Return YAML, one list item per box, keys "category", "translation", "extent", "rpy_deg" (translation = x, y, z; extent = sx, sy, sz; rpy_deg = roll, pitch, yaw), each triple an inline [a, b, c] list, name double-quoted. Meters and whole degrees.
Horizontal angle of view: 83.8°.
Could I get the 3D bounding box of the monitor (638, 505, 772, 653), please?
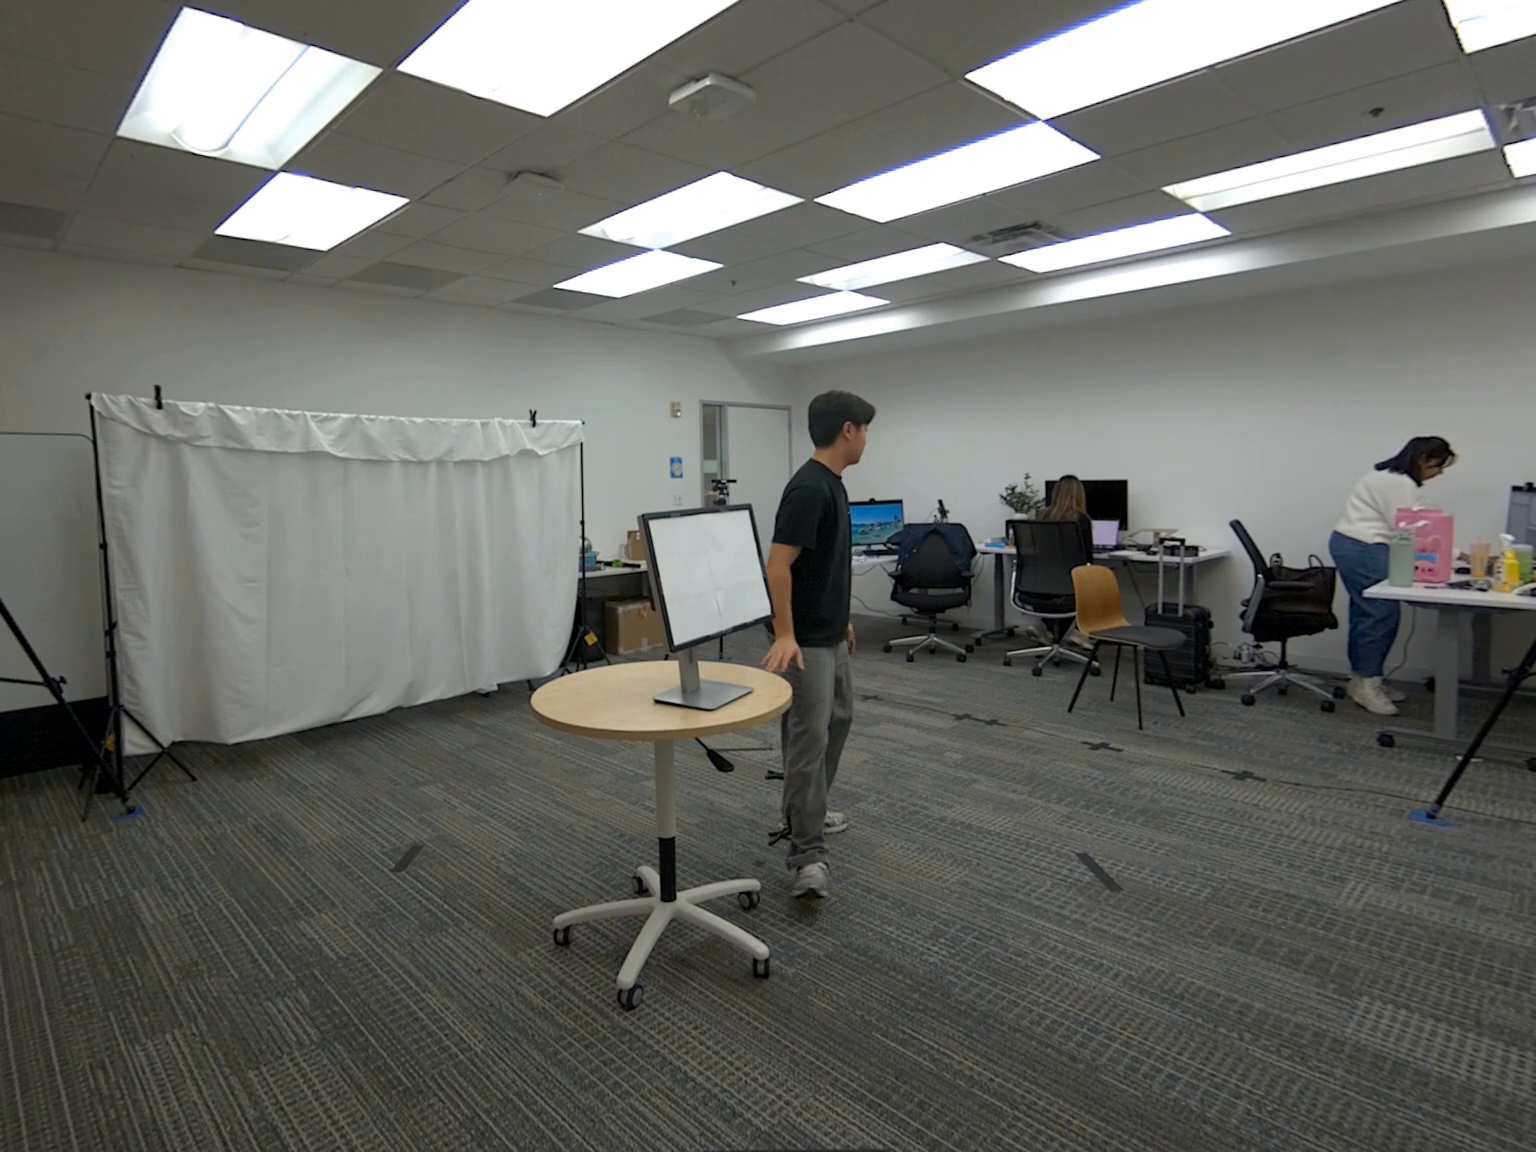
- category: "monitor"
  translation: [-0.179, 0.089, 2.424]
  extent: [0.228, 0.563, 0.549]
  rpy_deg: [5, 8, 31]
